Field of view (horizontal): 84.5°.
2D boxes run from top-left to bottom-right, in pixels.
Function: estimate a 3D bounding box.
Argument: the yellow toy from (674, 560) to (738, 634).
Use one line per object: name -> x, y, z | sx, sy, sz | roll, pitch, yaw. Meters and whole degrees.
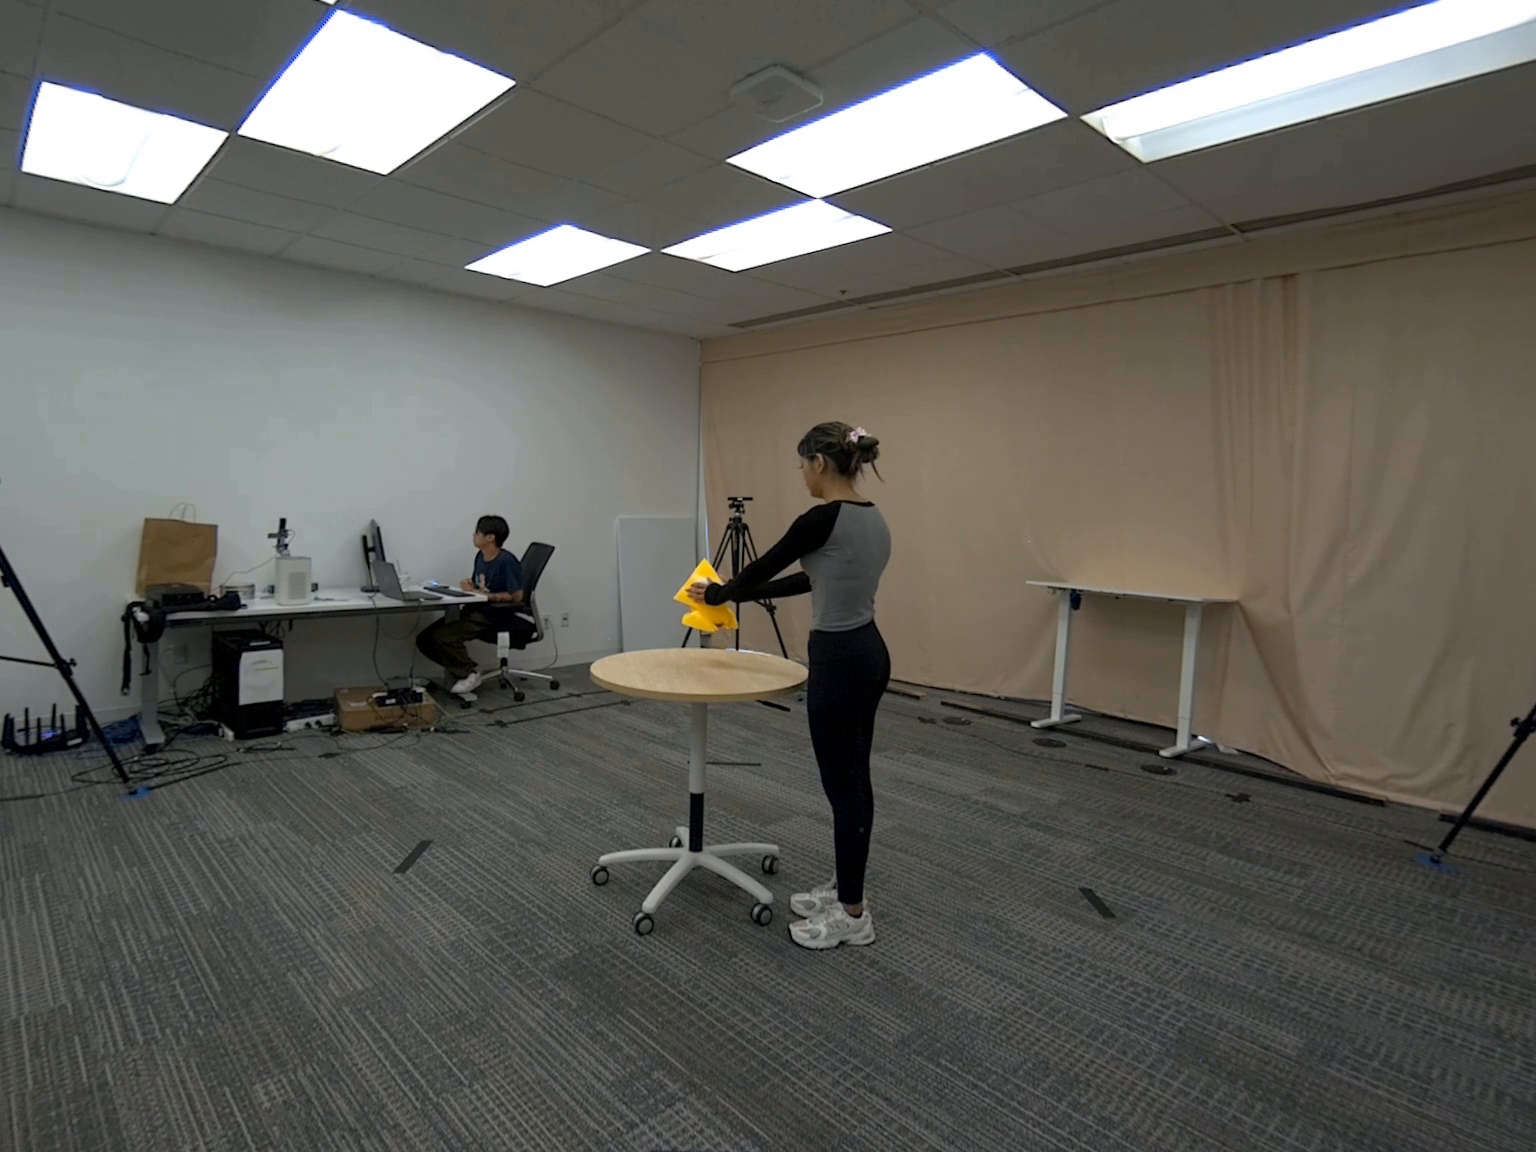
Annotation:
yellow toy -> -0.207, 0.072, 3.041 | 0.198, 0.229, 0.200 | 15, 10, 36
